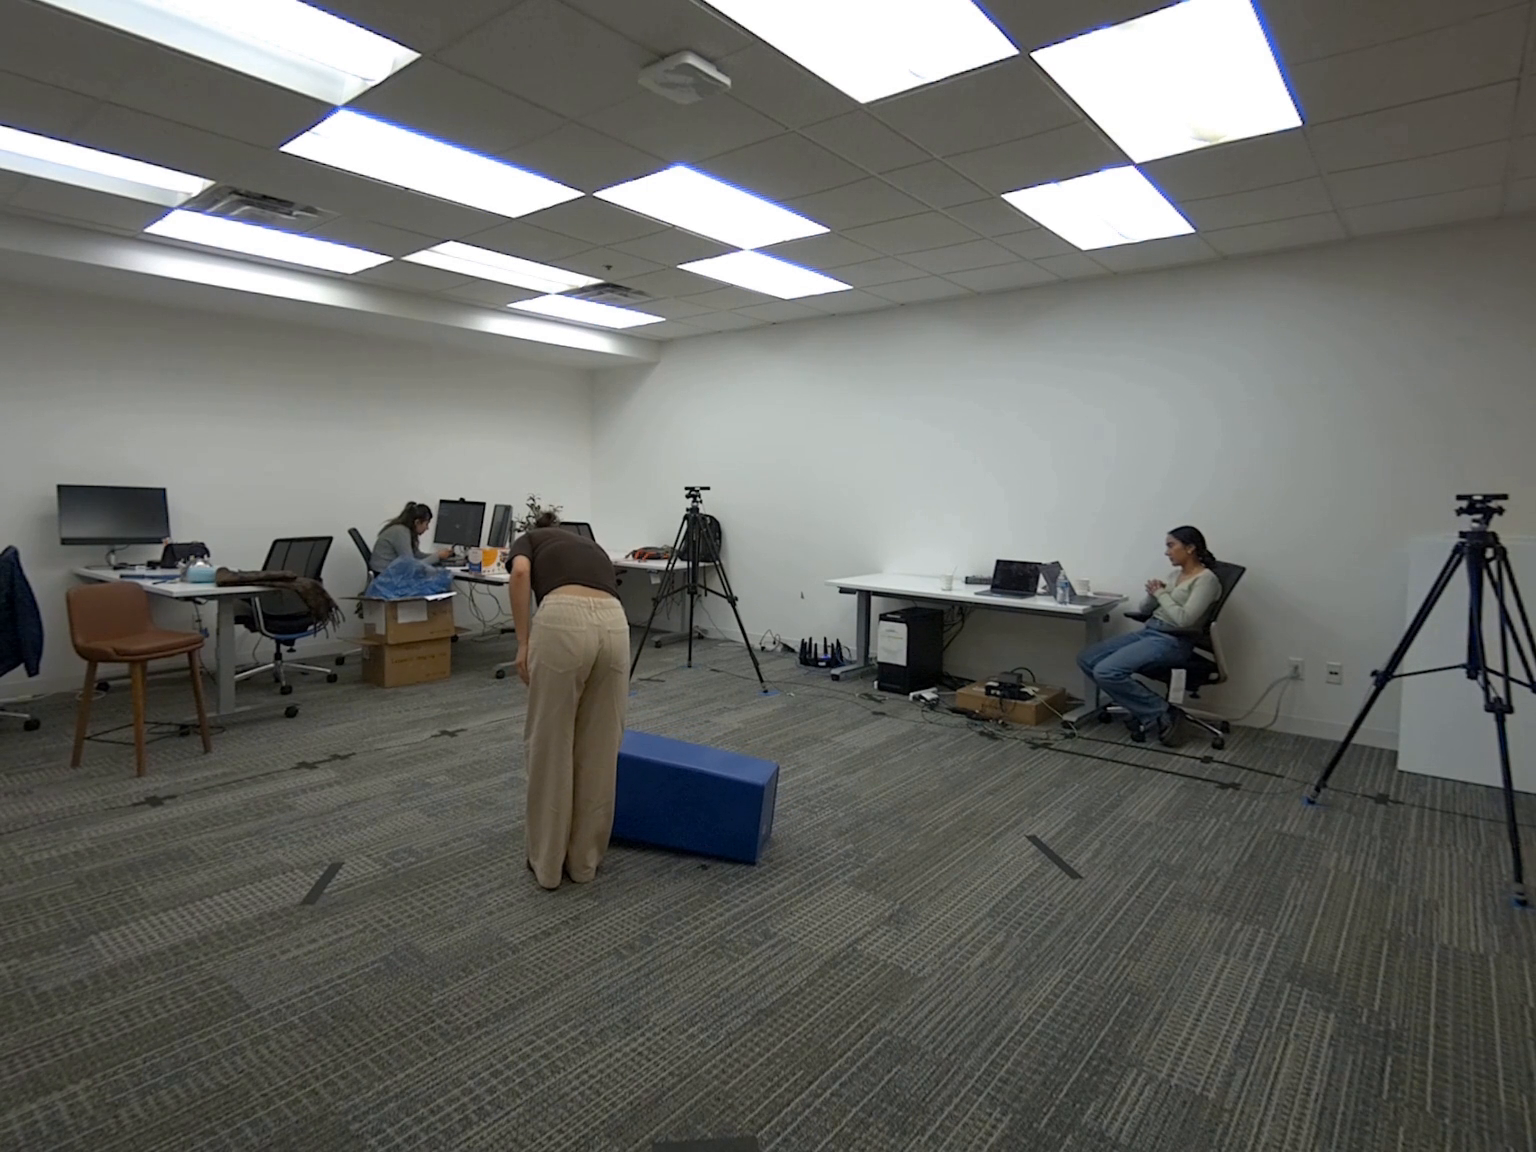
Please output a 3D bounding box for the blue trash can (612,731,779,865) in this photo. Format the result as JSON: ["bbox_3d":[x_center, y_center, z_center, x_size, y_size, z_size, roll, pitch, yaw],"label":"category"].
[{"bbox_3d":[-0.347,0.859,3.353,0.727,0.373,0.372,8,4,15],"label":"blue trash can"}]
